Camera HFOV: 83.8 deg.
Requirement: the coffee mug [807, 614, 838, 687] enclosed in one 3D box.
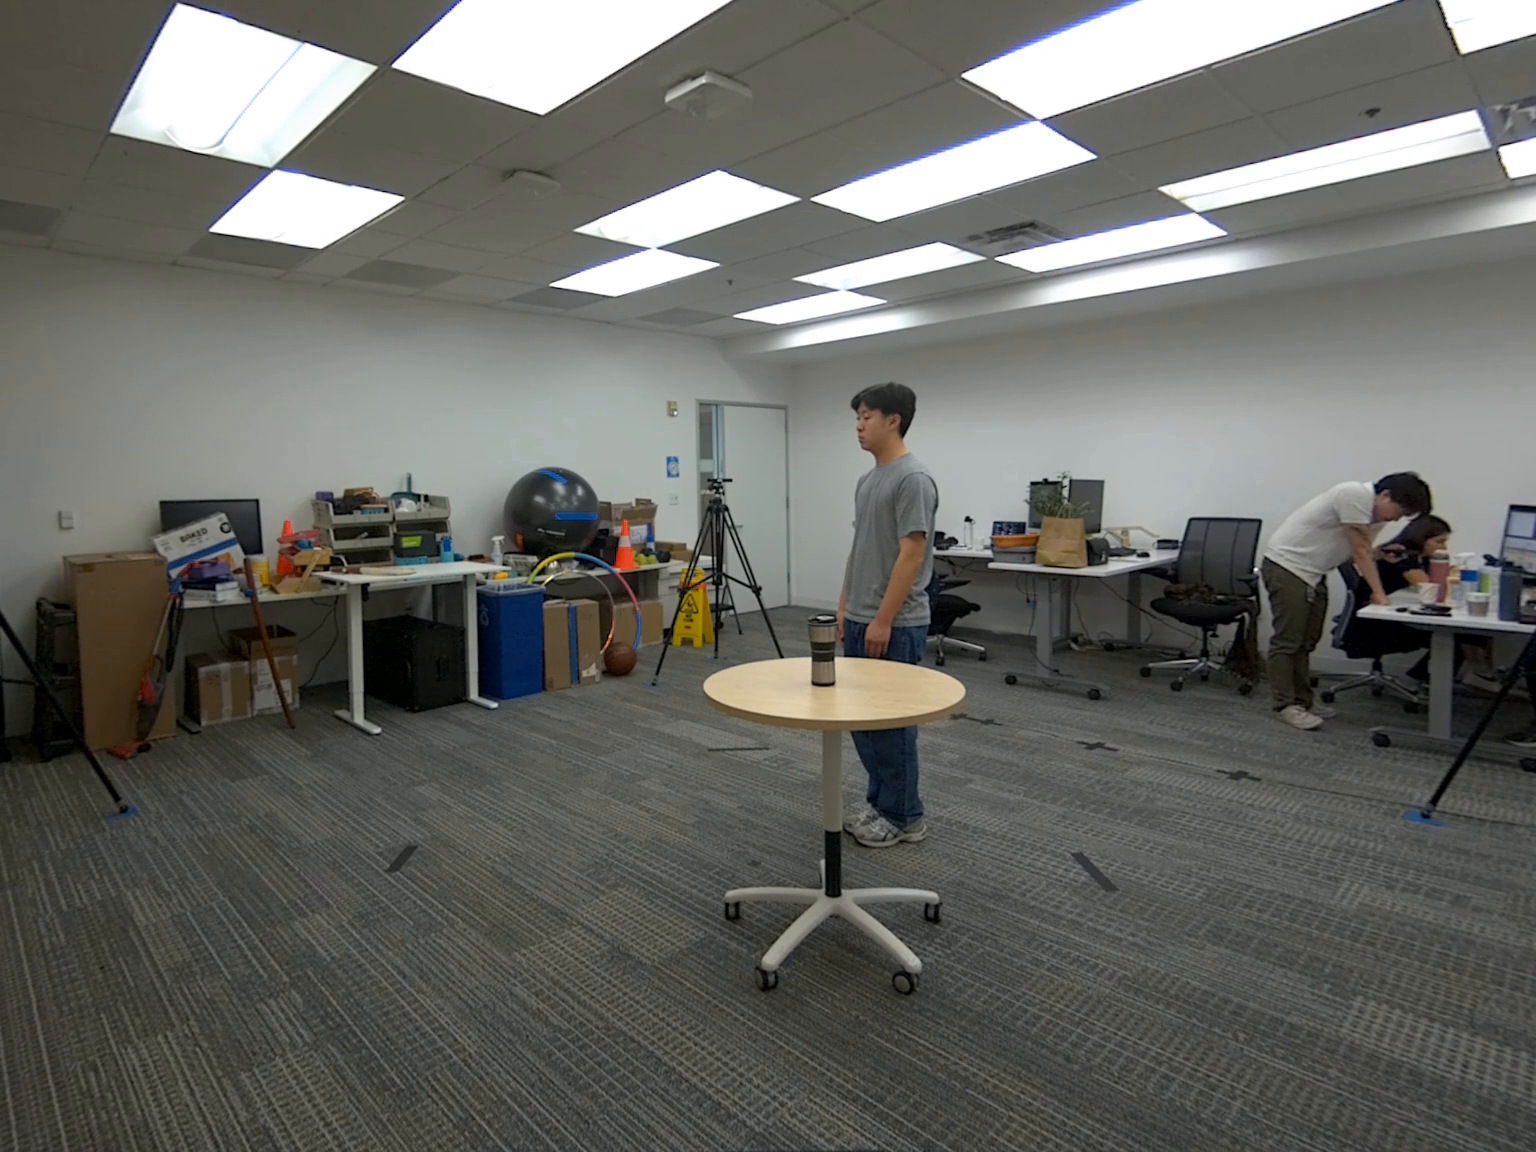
[{"bbox_3d":[0.180,0.219,2.548,0.090,0.202,0.119,-3,6,37],"label":"coffee mug"}]
